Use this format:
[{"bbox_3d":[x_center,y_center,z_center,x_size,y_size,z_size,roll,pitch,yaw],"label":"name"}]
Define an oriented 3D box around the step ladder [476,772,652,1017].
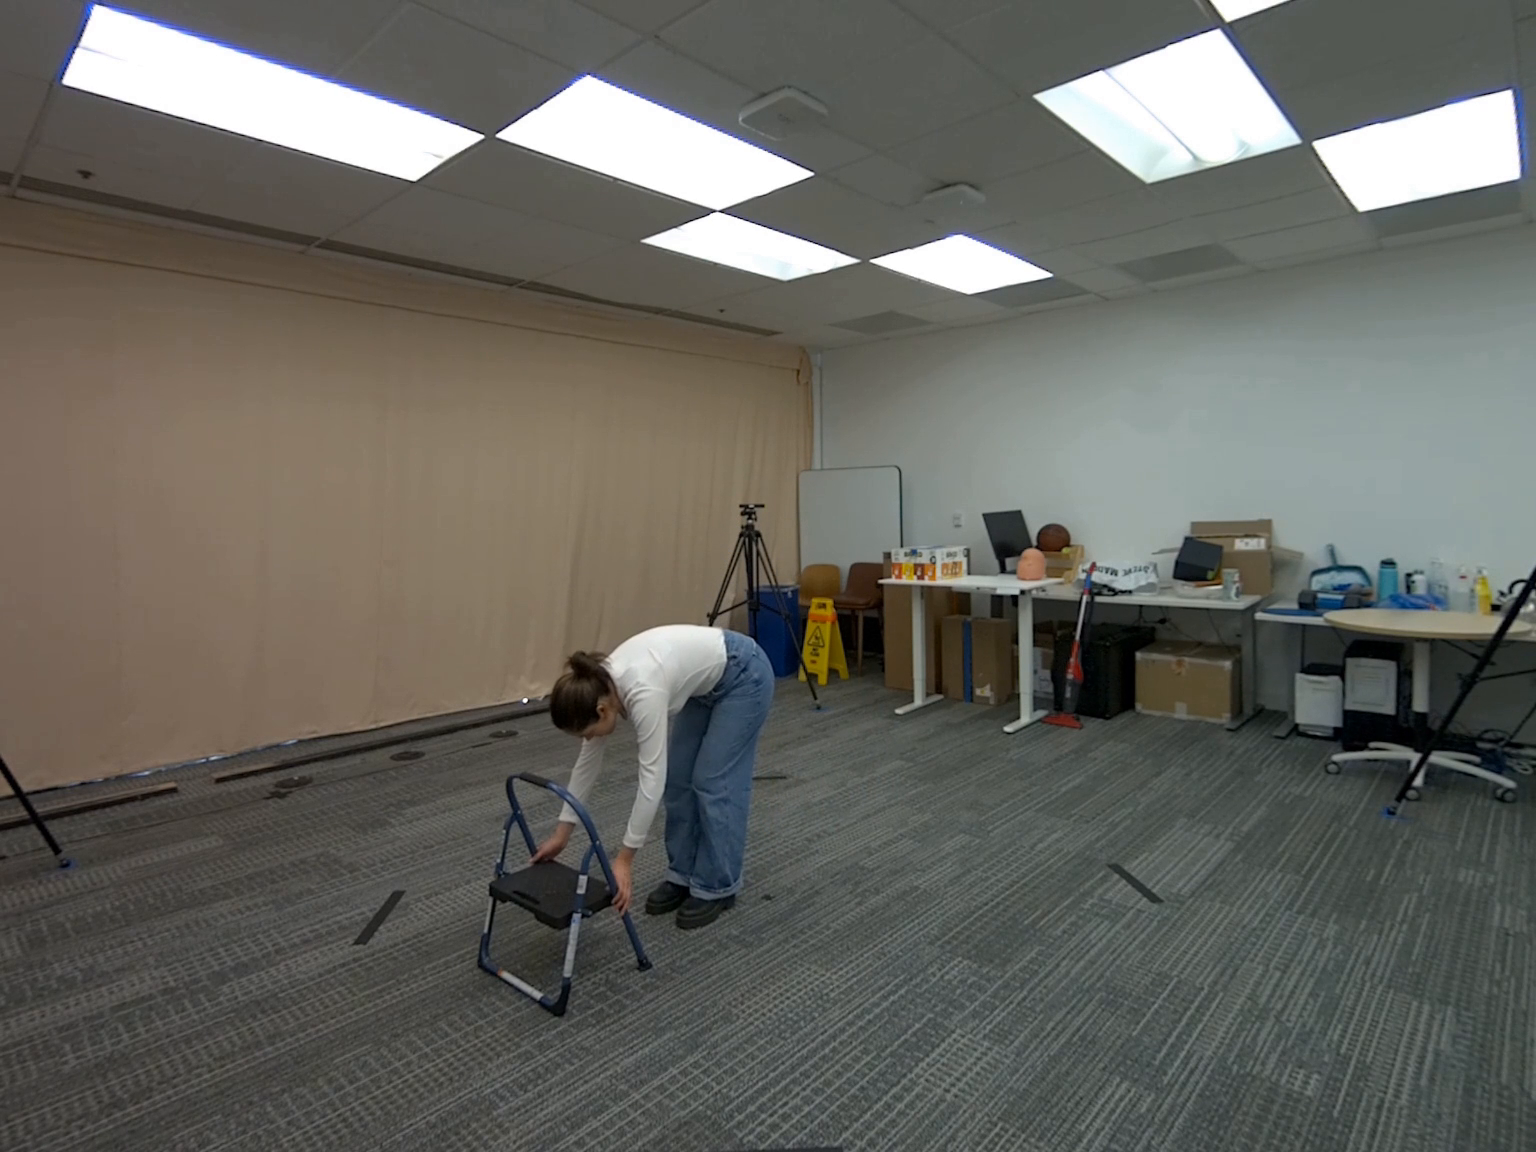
[{"bbox_3d":[-0.629,0.889,2.541,0.445,0.605,0.339,2,5,40],"label":"step ladder"}]
